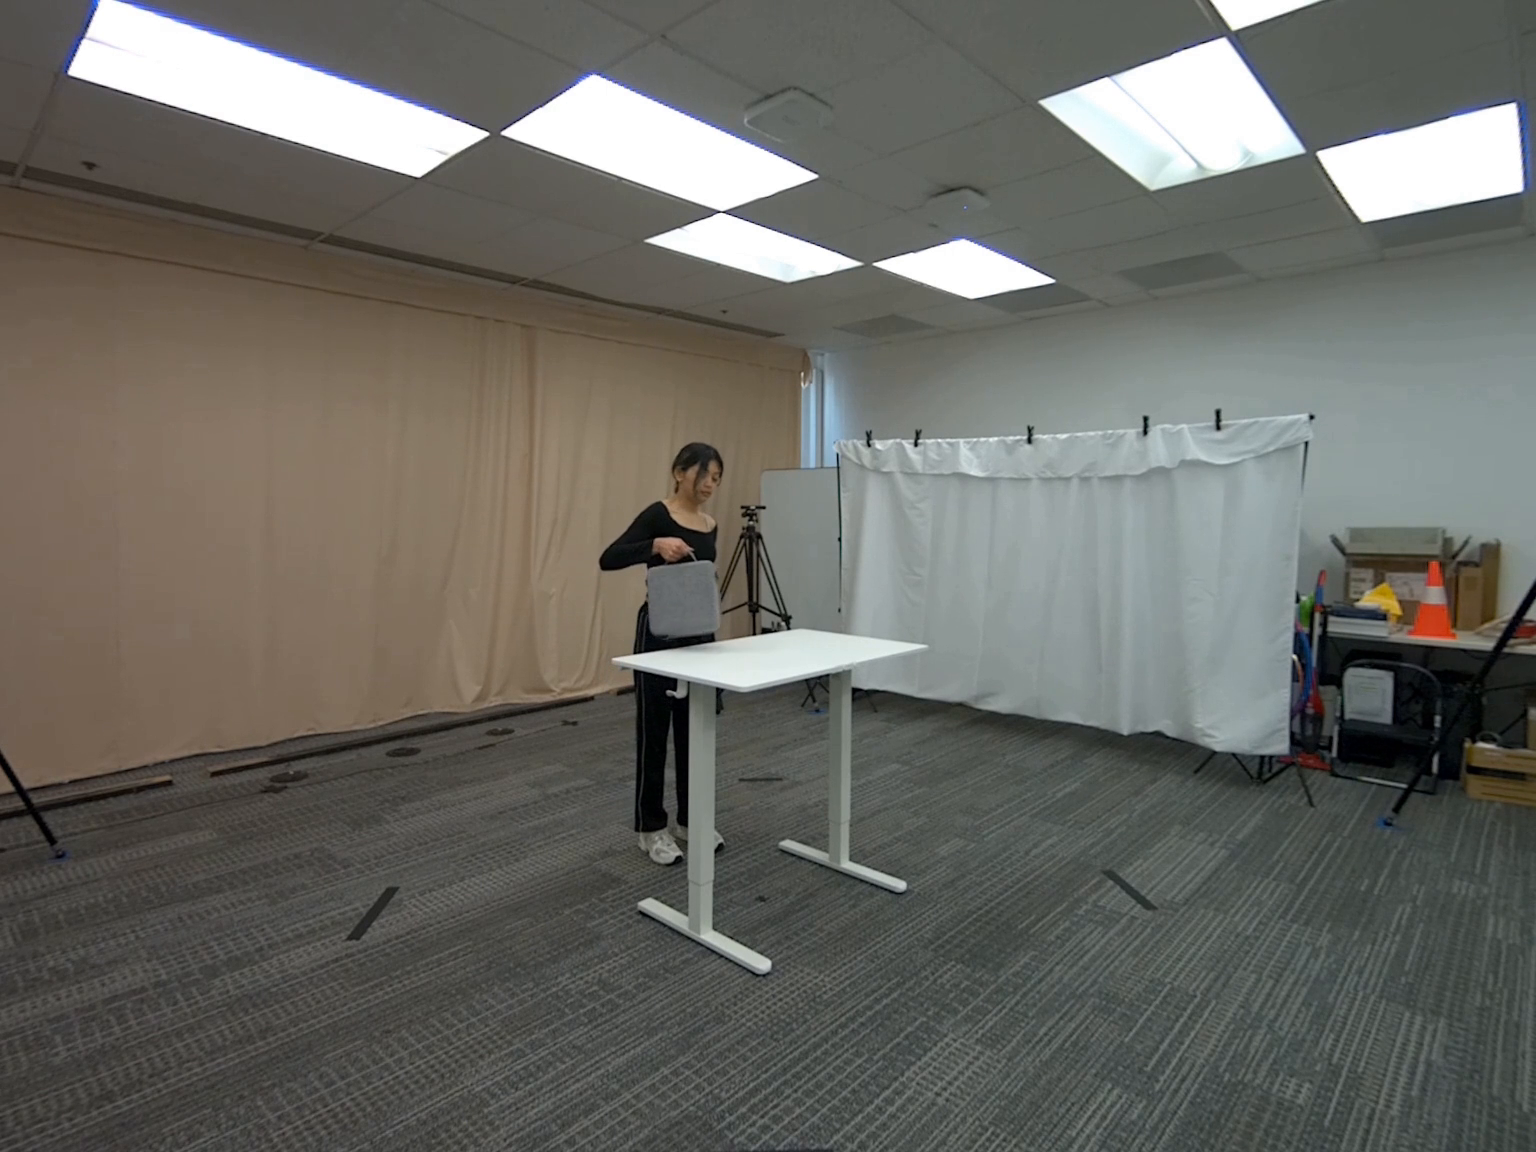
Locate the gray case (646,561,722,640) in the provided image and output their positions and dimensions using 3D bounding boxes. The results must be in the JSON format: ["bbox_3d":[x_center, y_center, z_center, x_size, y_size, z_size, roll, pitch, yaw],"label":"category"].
[{"bbox_3d":[-0.293,0.084,3.005,0.260,0.262,0.102,-8,-10,11],"label":"gray case"}]
